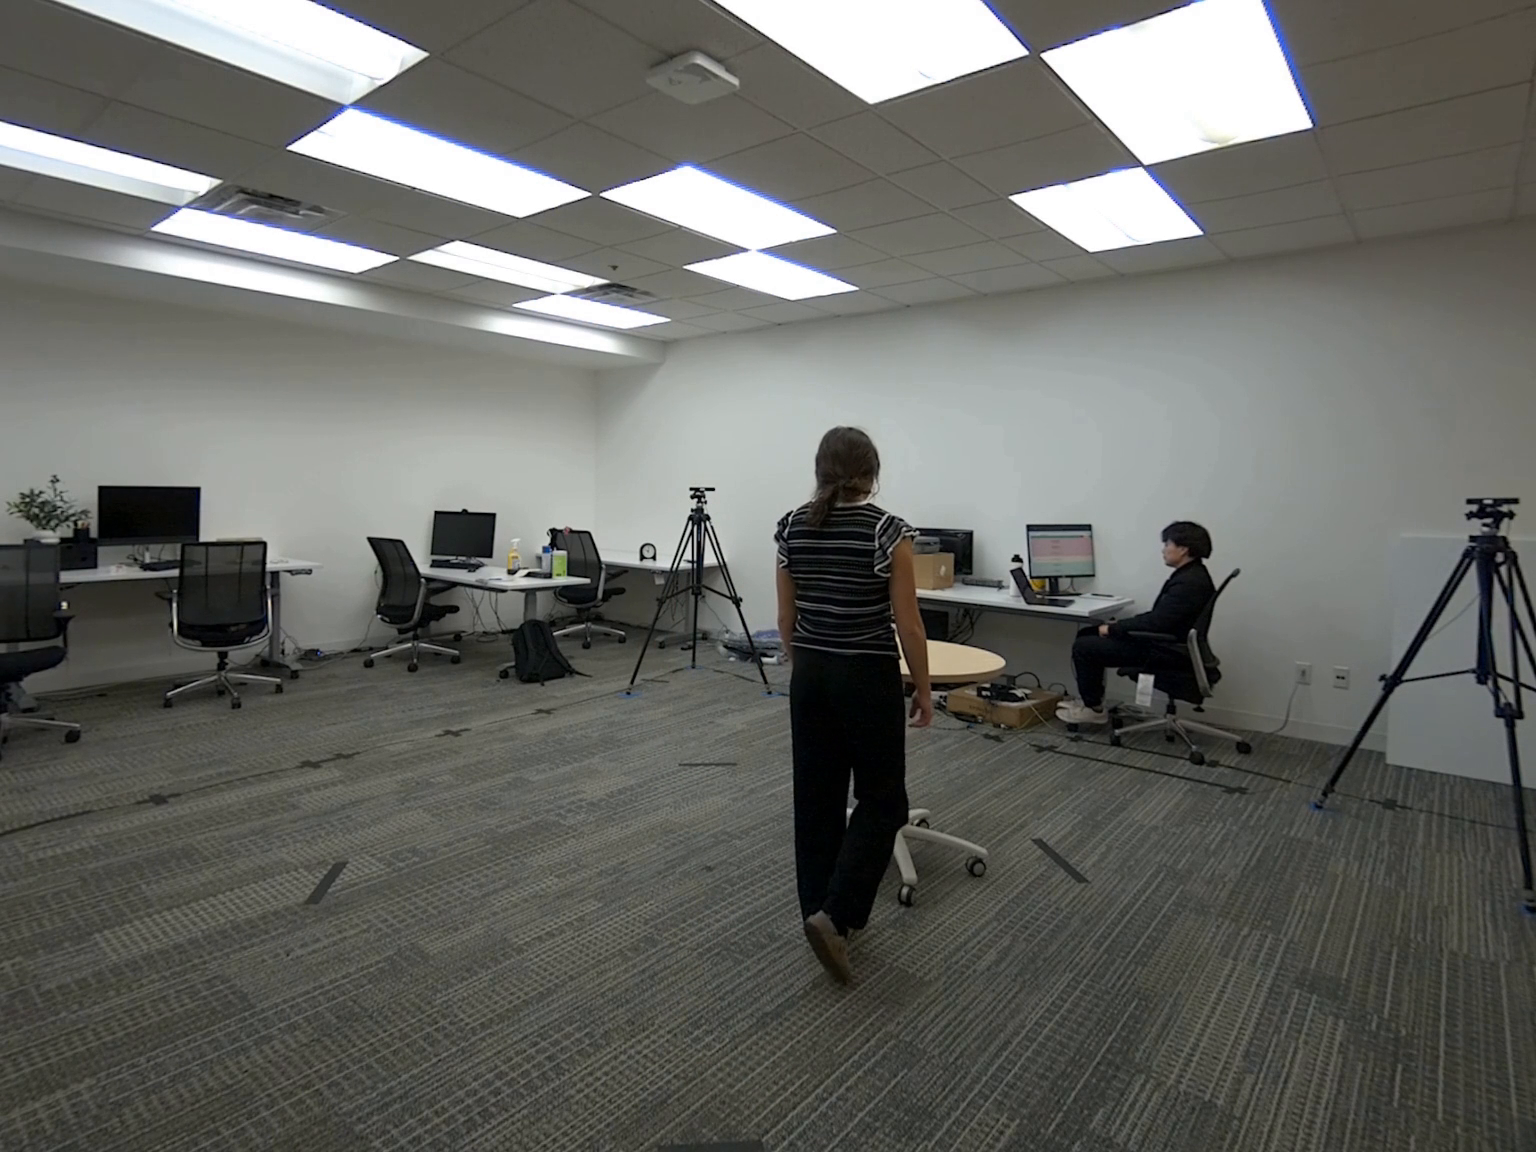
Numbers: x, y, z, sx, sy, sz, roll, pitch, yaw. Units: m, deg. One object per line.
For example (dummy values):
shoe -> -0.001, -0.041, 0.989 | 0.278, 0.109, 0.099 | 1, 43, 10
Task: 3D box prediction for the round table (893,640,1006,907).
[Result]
round table -> 0.469, 0.680, 3.216 | 0.763, 0.791, 0.768 | 2, 4, -2
